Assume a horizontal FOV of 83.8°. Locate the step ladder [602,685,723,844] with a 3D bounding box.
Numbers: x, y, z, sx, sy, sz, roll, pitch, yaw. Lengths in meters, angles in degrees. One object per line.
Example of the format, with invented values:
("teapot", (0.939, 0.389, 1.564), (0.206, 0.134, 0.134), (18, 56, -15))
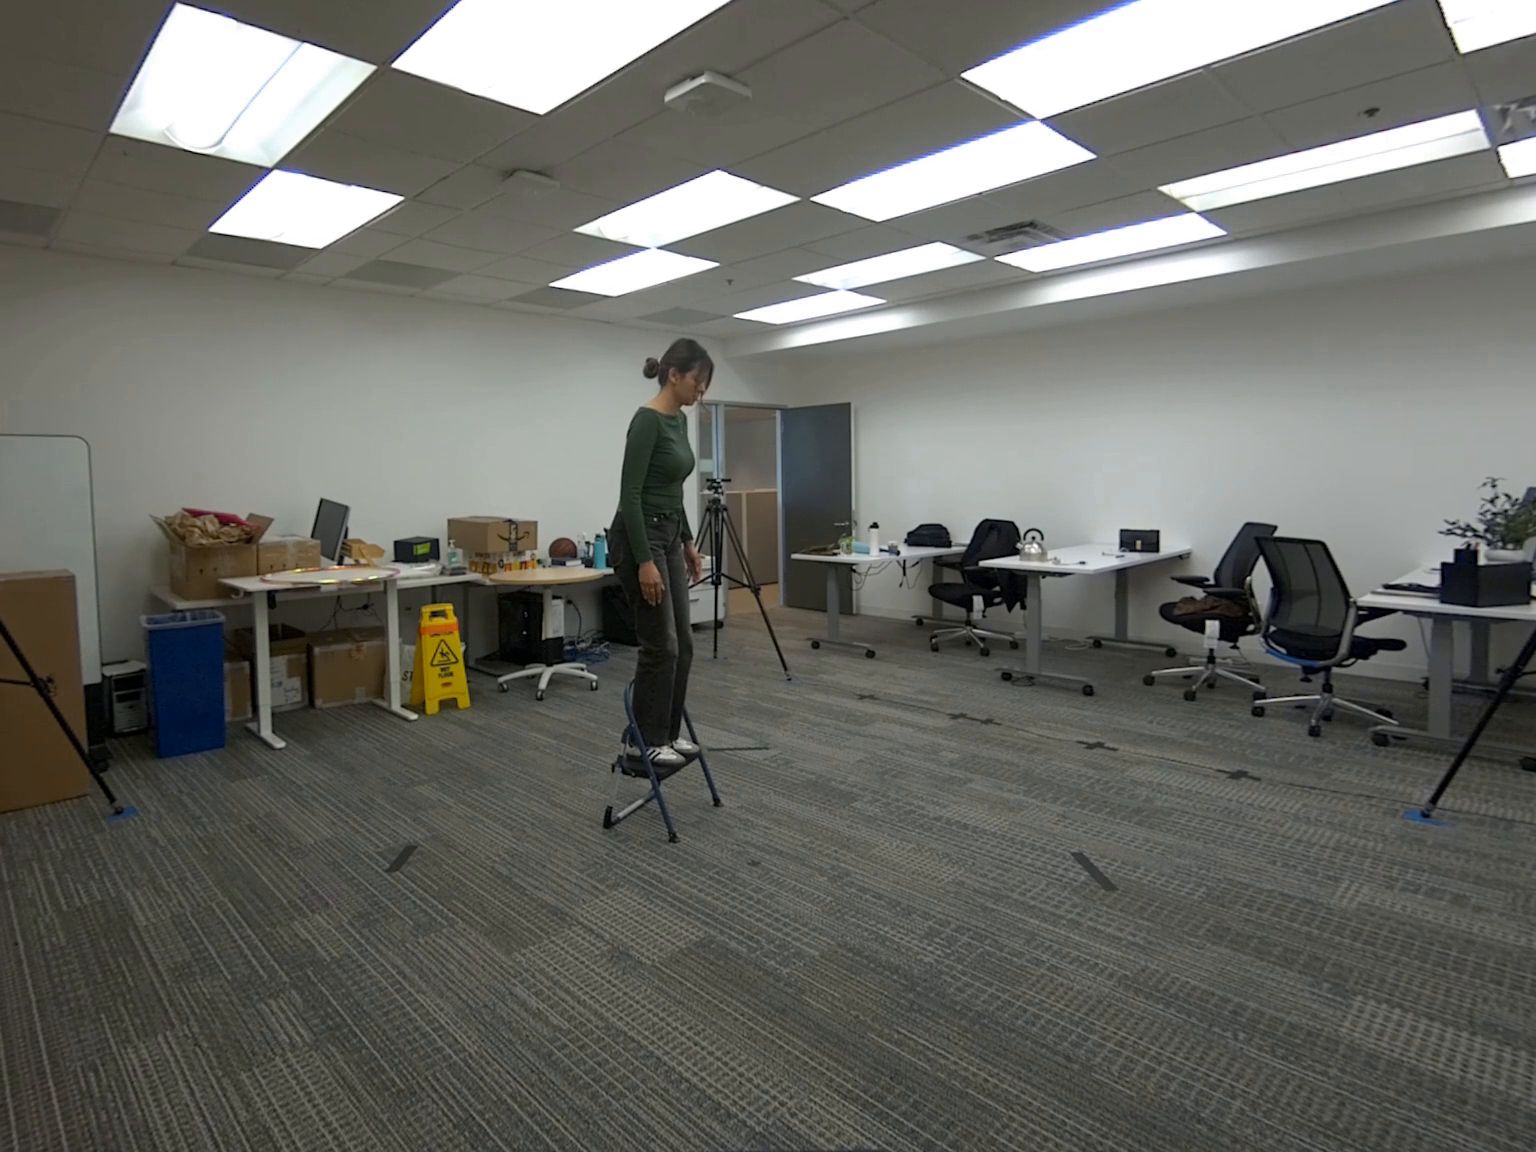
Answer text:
("step ladder", (-0.438, 0.704, 3.538), (0.357, 0.604, 0.423), (1, 5, 23))
